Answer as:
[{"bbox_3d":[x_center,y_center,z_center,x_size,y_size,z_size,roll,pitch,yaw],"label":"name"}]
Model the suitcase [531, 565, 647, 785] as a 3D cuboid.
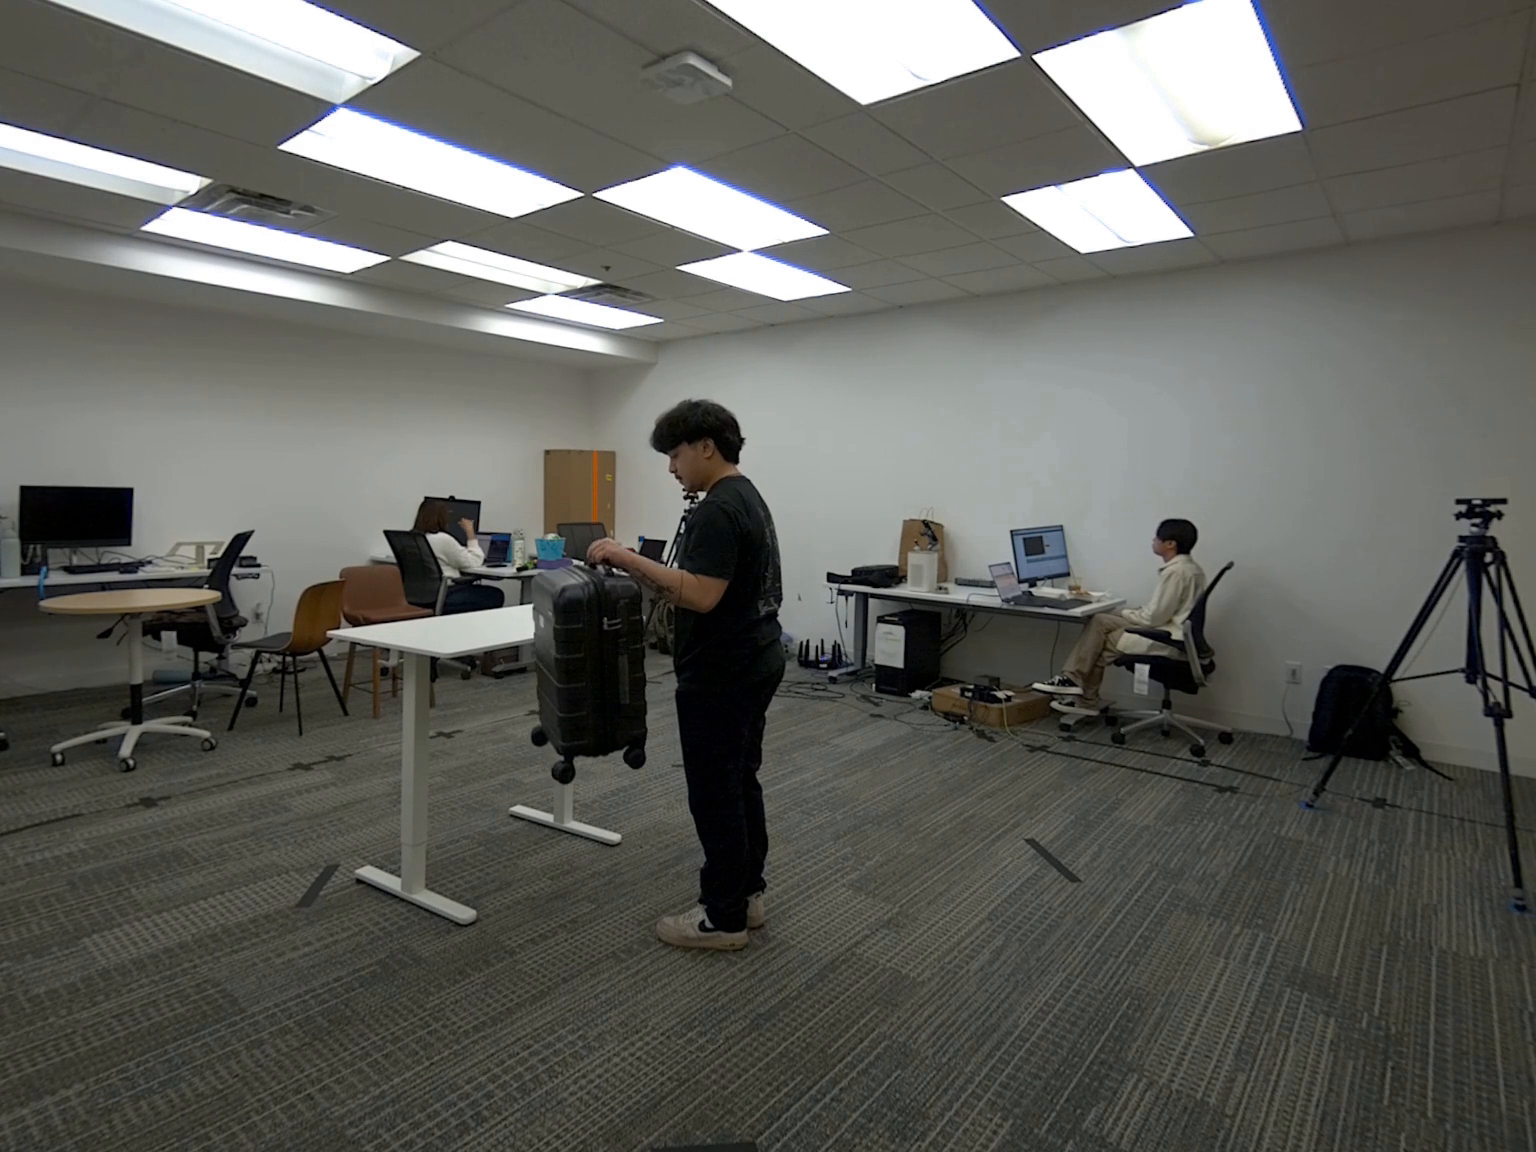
[{"bbox_3d":[-0.526,0.256,2.442,0.242,0.545,0.387,-5,9,-27],"label":"suitcase"}]
